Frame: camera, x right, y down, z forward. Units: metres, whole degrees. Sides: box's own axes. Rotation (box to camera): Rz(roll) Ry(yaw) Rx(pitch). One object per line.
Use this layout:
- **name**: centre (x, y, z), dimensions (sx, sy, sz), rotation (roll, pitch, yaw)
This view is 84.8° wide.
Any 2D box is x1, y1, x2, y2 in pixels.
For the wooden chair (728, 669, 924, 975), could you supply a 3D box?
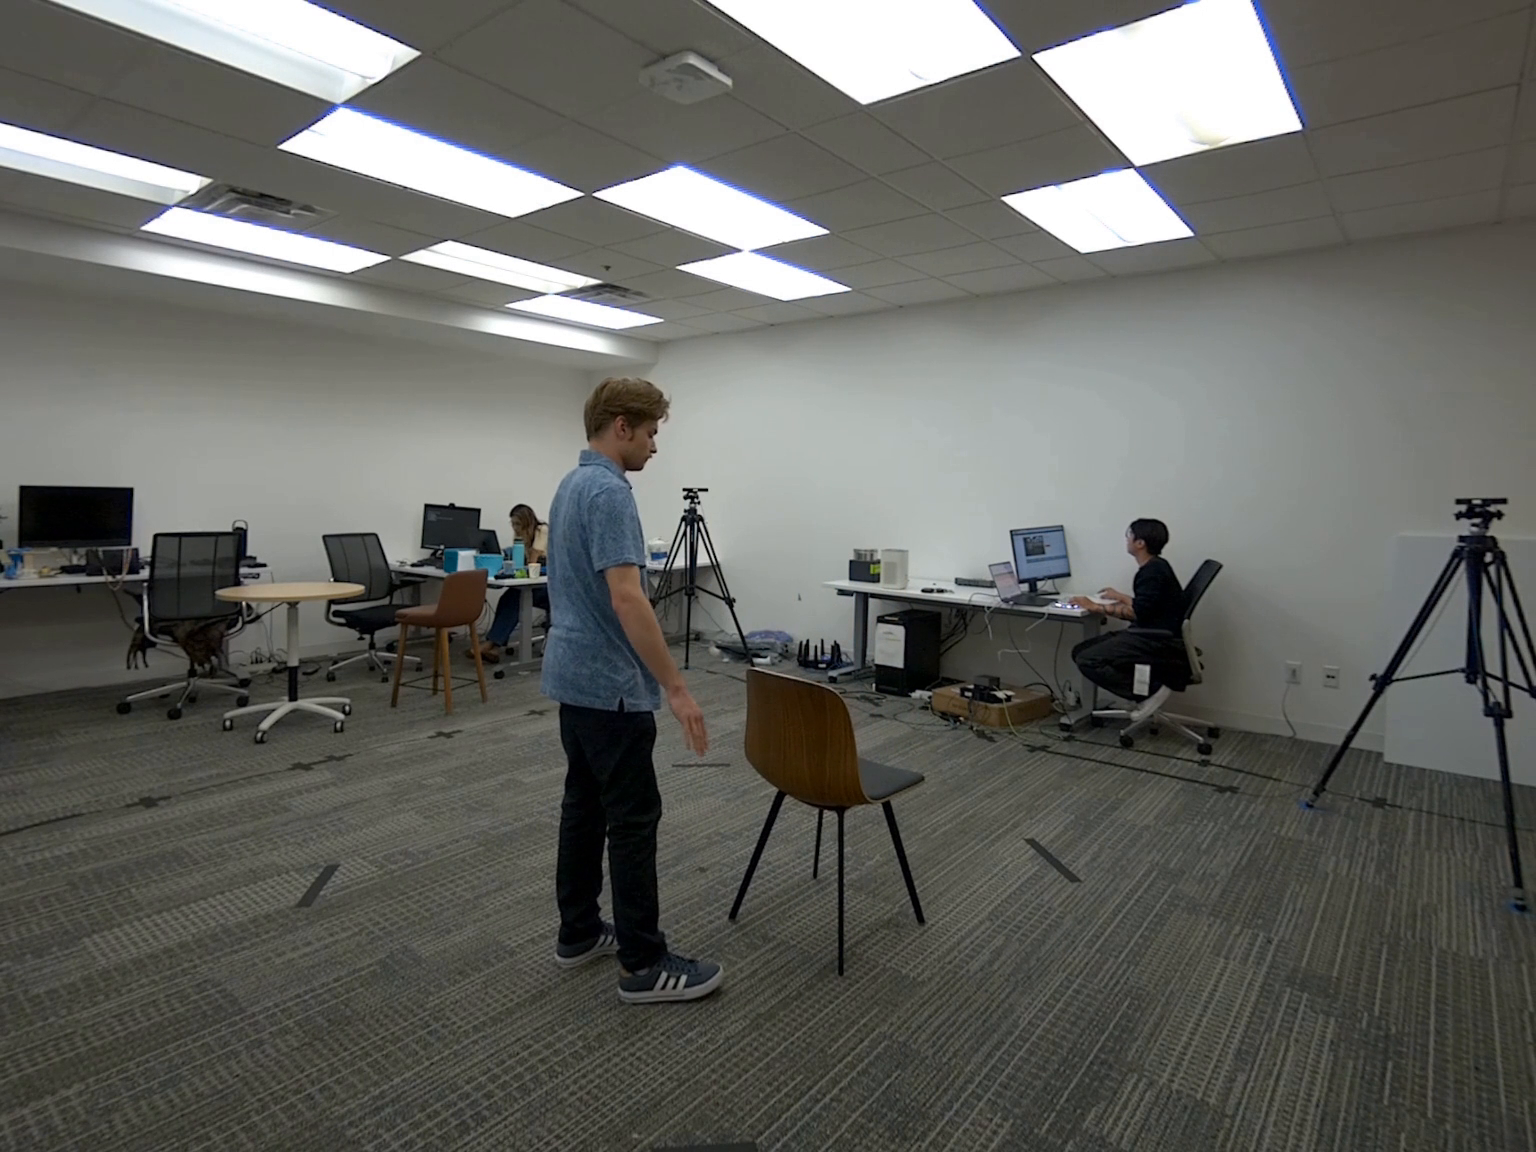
- **wooden chair**: centre (0.196, 0.686, 2.735), dimensions (0.494, 0.872, 0.509), rotation (4, 9, 42)
